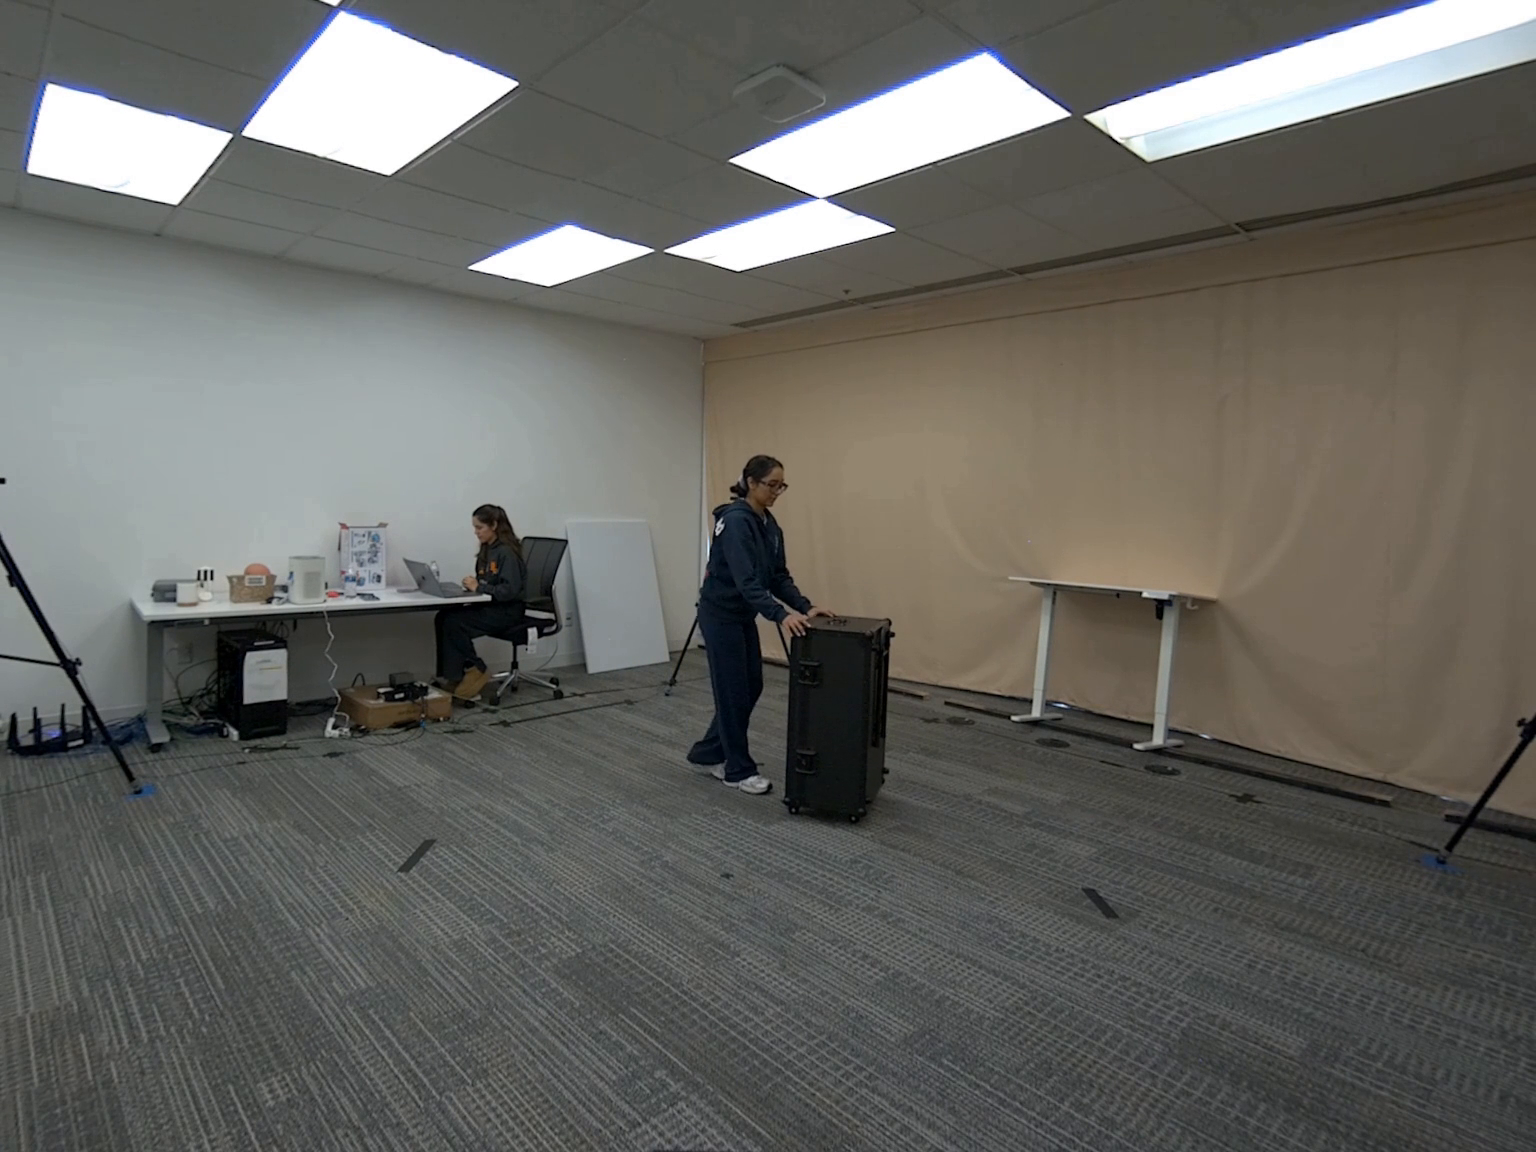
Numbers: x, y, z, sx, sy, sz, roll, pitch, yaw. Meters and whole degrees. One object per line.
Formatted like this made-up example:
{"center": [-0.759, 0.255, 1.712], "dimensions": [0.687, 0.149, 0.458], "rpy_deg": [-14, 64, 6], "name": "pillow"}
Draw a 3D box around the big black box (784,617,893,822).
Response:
{"center": [0.322, 0.626, 3.809], "dimensions": [0.402, 0.859, 0.514], "rpy_deg": [4, 5, 19], "name": "big black box"}
